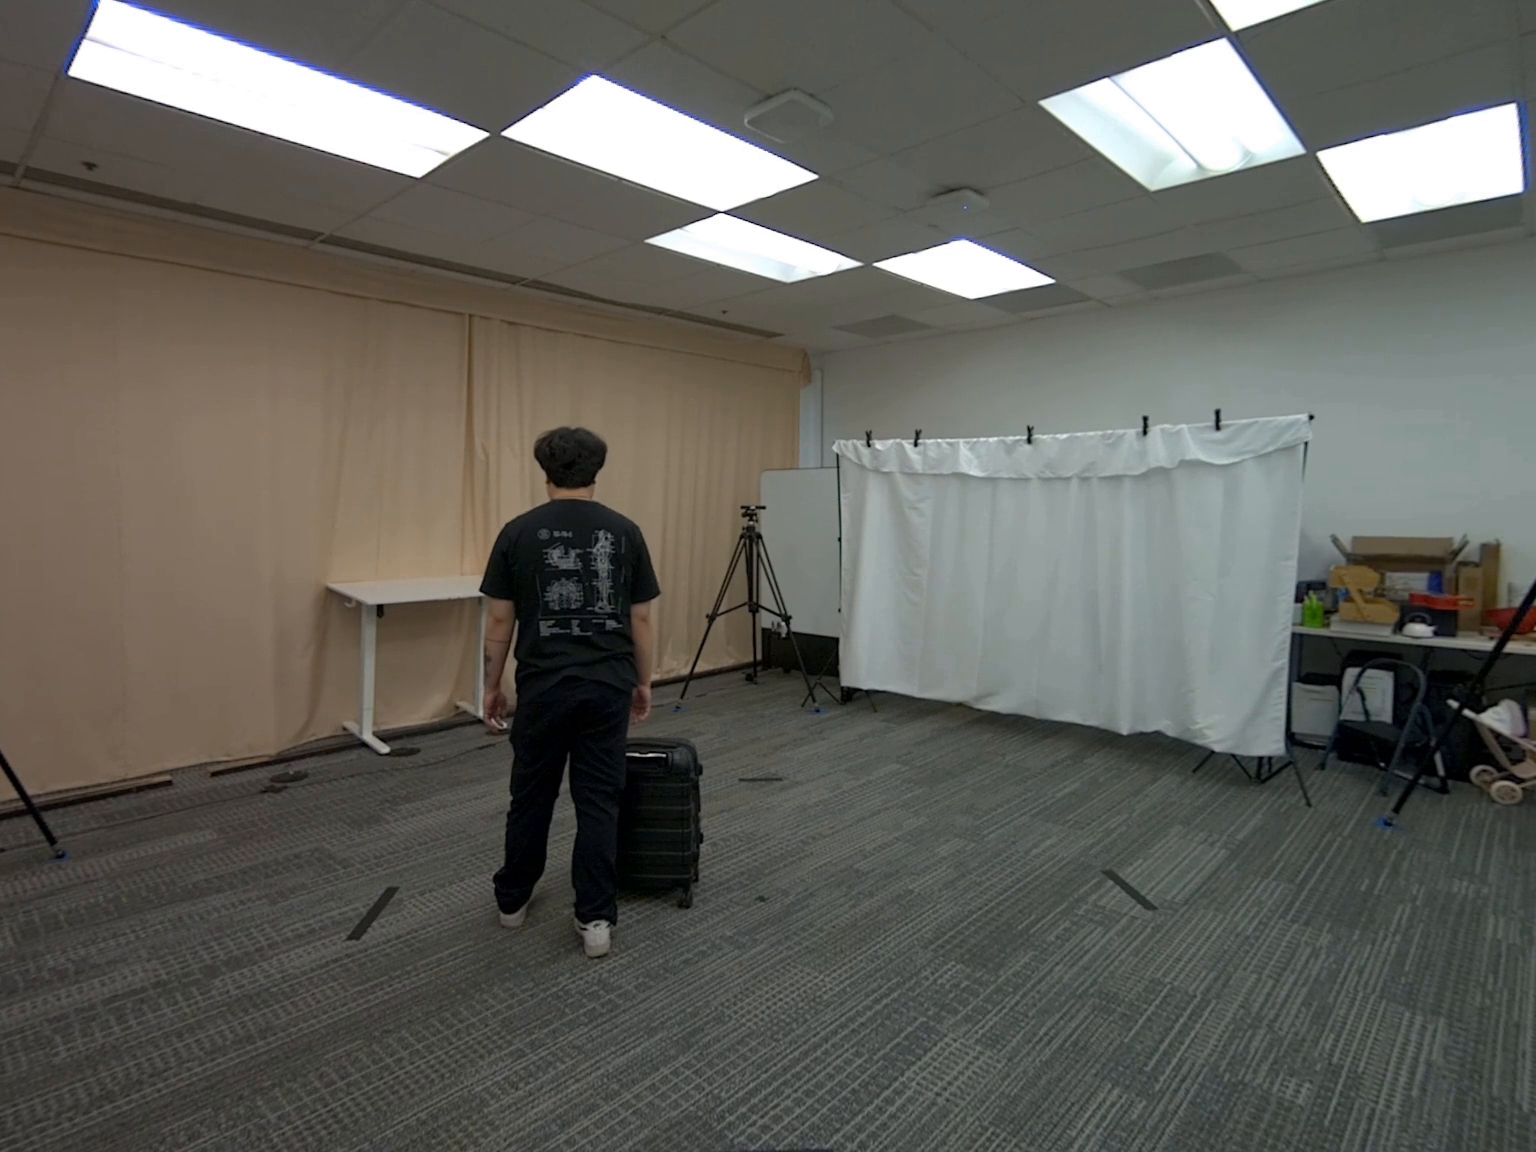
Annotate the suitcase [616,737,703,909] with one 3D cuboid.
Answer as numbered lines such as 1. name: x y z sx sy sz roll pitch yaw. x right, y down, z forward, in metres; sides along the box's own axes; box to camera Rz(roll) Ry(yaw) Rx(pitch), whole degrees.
1. suitcase: -0.429 0.863 3.046 0.377 0.548 0.248 0 2 2
